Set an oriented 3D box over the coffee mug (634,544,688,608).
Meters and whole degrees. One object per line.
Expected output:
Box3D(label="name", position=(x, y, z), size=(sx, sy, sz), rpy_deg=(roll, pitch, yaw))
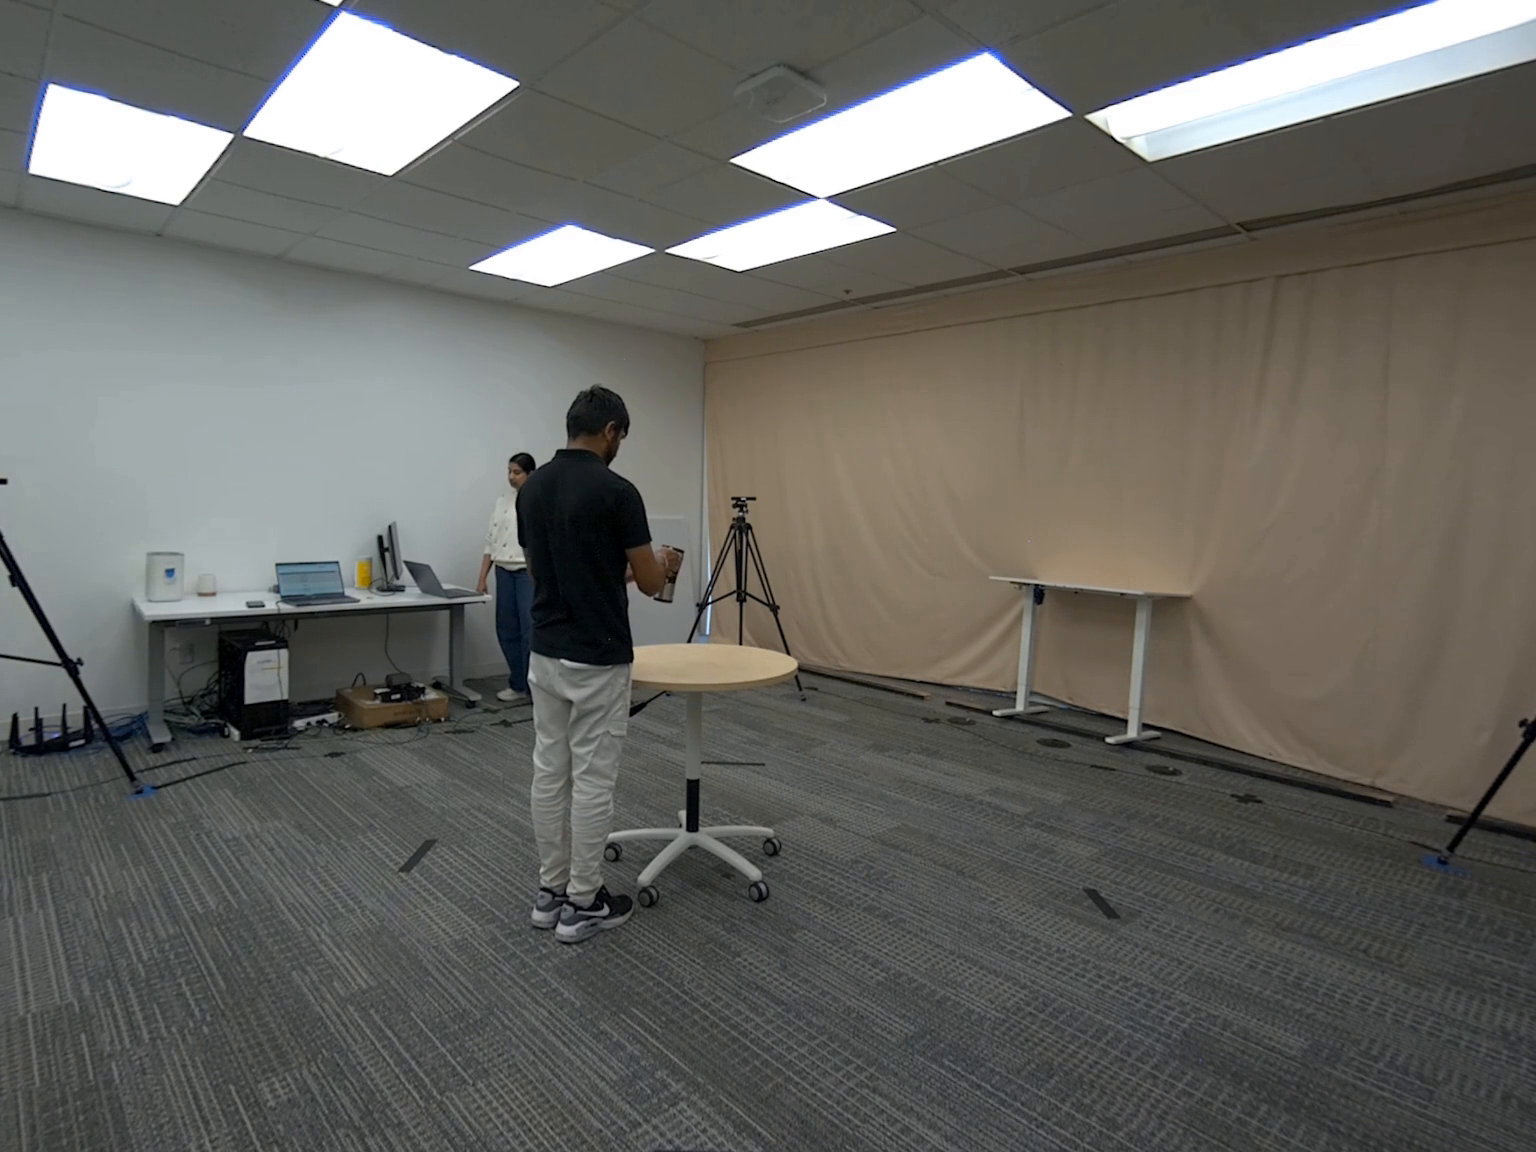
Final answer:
Box3D(label="coffee mug", position=(-0.389, -0.004, 3.053), size=(0.119, 0.203, 0.090), rpy_deg=(11, 4, -42))
